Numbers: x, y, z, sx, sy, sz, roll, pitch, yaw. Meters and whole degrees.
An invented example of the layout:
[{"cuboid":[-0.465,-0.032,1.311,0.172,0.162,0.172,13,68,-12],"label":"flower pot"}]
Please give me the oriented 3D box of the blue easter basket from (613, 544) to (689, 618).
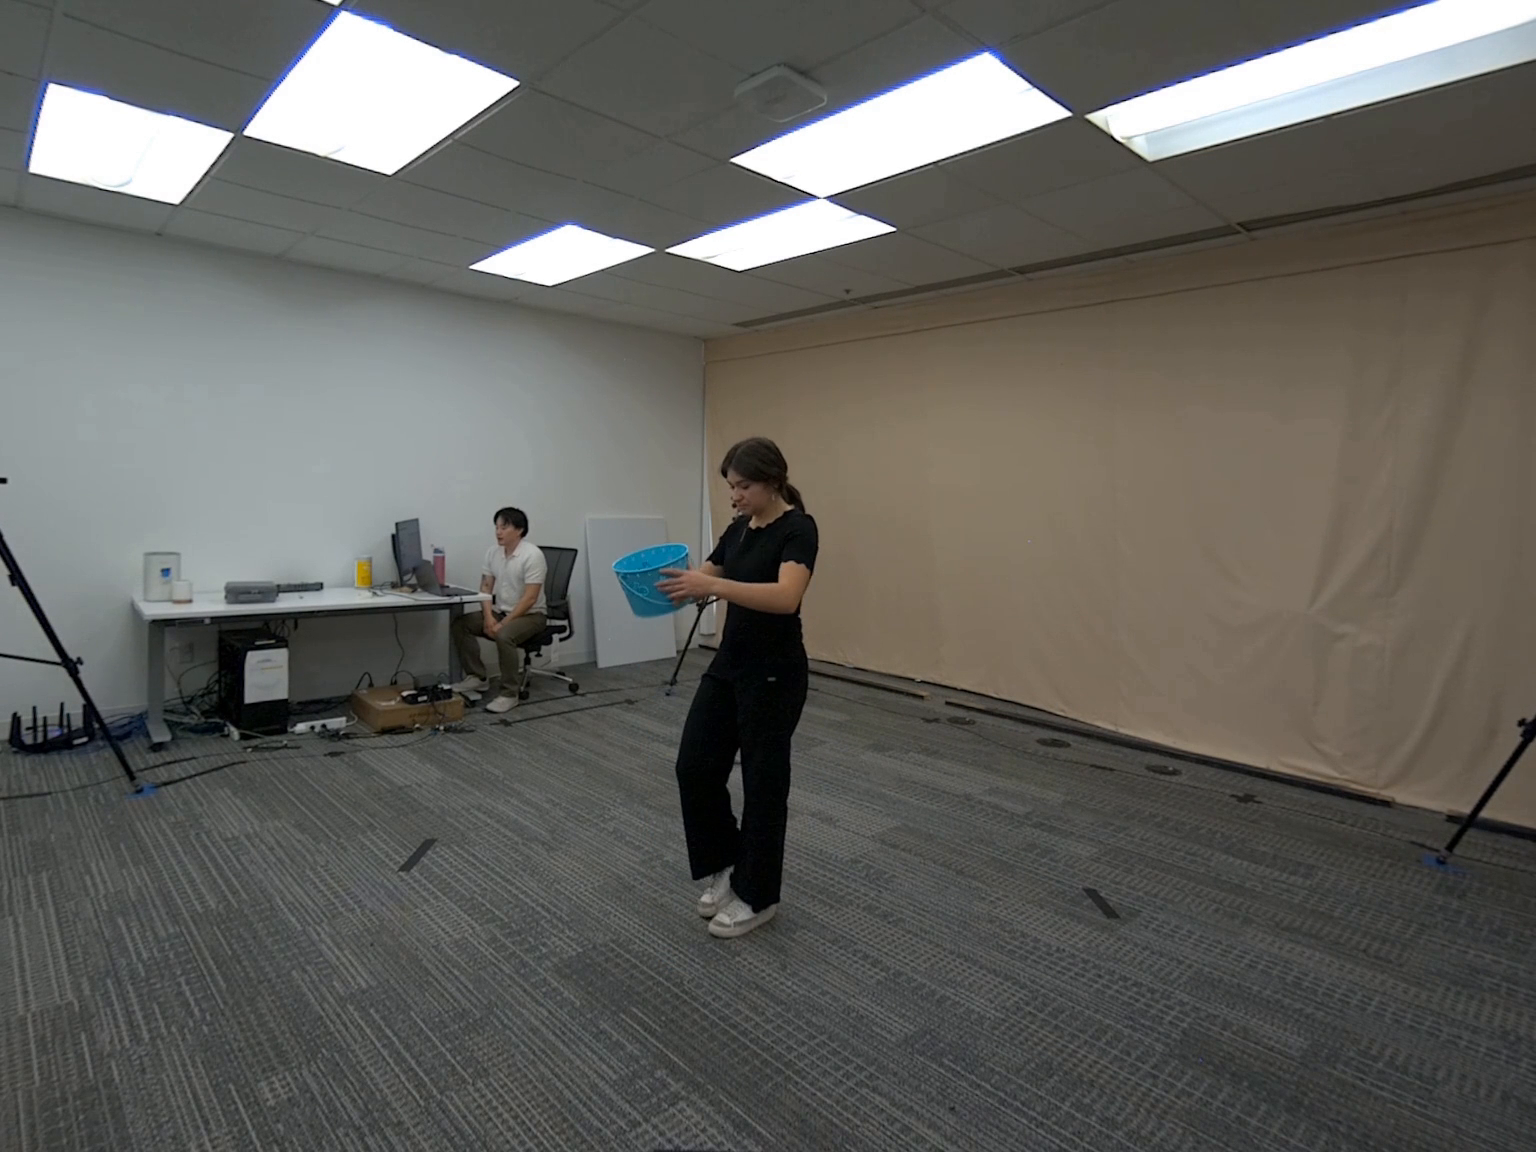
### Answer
[{"cuboid":[-0.328,0.025,2.478,0.244,0.154,0.246,-12,16,2],"label":"blue easter basket"}]
